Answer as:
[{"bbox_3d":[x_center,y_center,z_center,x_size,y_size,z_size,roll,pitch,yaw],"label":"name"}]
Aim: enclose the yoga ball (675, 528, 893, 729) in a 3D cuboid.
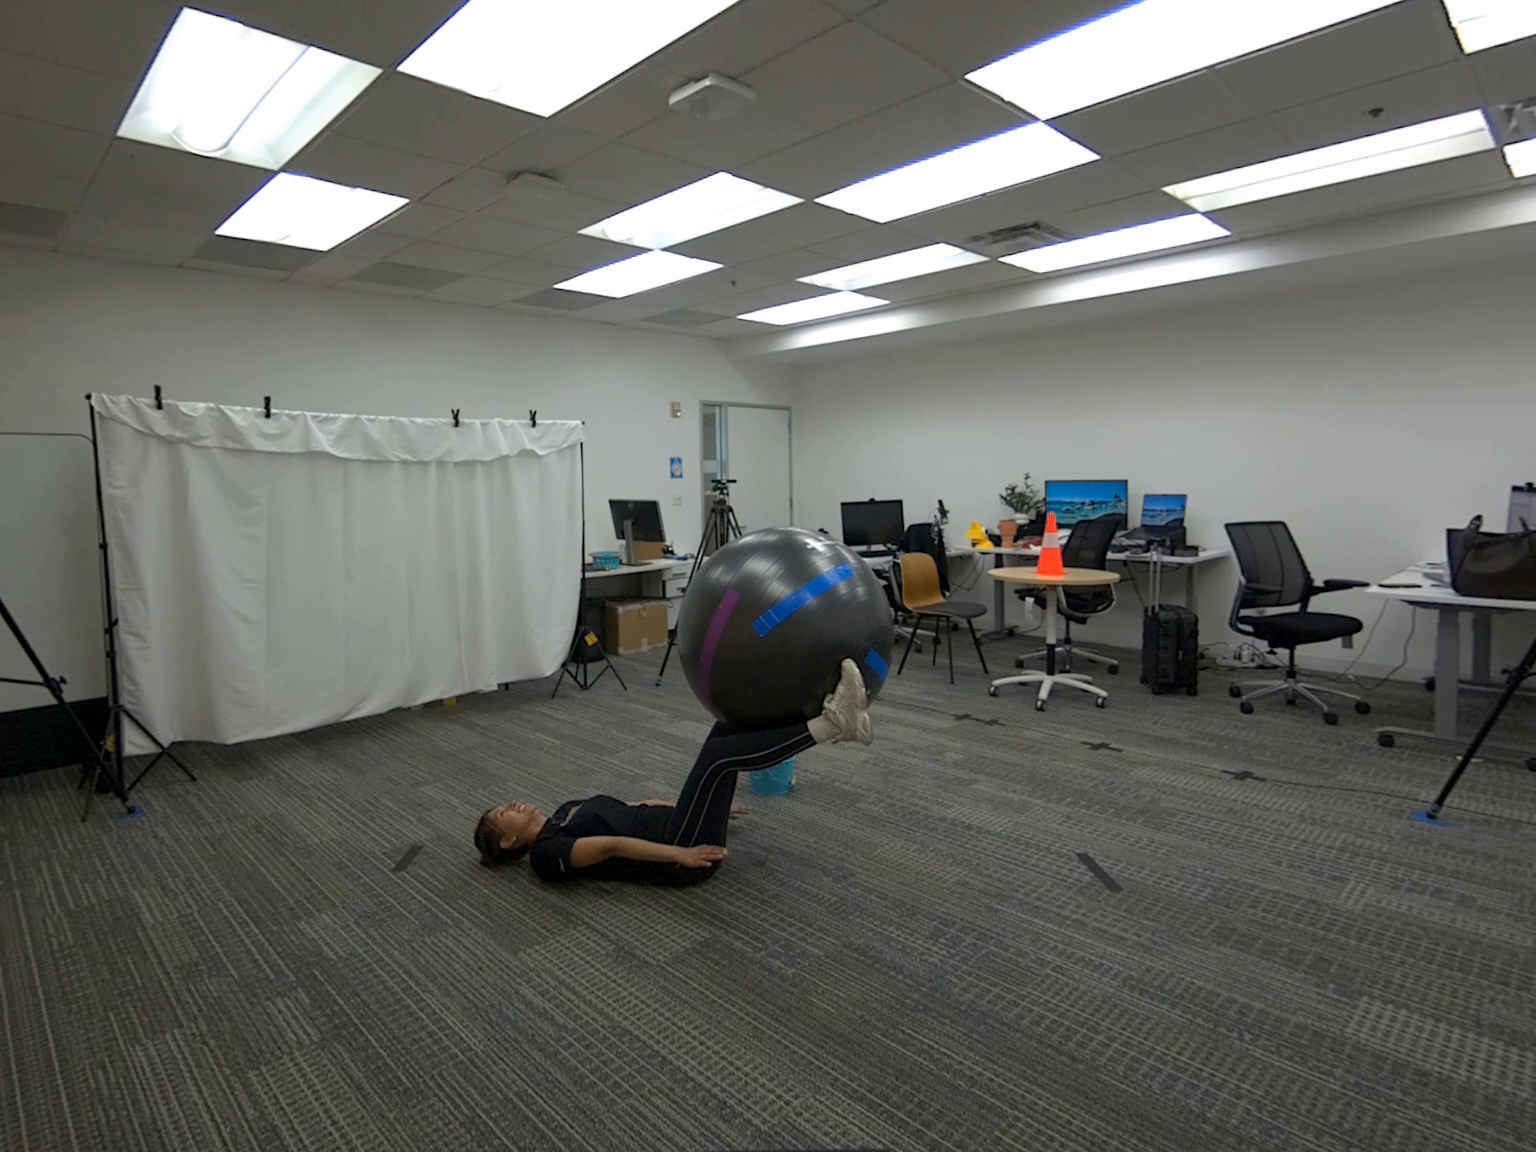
[{"bbox_3d":[0.049,0.210,2.996,0.757,0.755,0.762,-1,5,-2],"label":"yoga ball"}]
